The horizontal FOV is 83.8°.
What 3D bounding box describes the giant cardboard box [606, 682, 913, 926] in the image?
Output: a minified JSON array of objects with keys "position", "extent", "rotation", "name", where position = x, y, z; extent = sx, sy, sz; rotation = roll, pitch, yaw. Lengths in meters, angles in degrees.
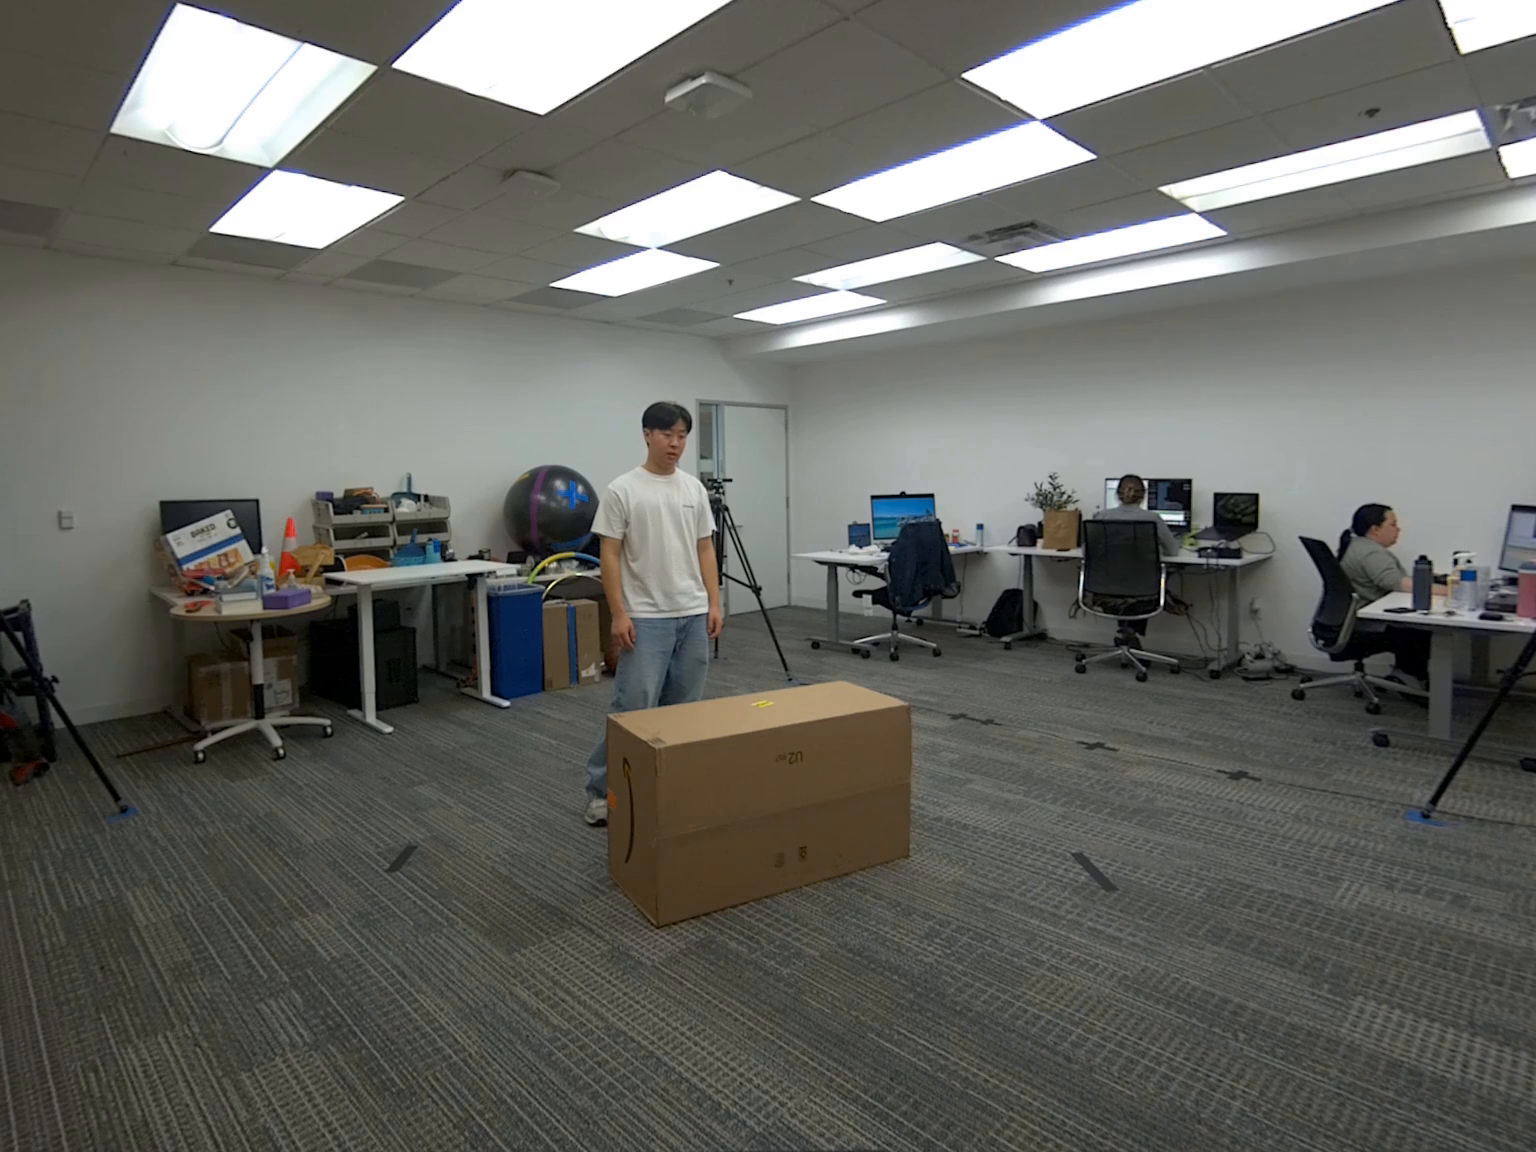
[{"position":[-0.022,0.759,3.068],"extent":[1.002,0.575,0.438],"rotation":[-4,6,-29],"name":"giant cardboard box"}]
